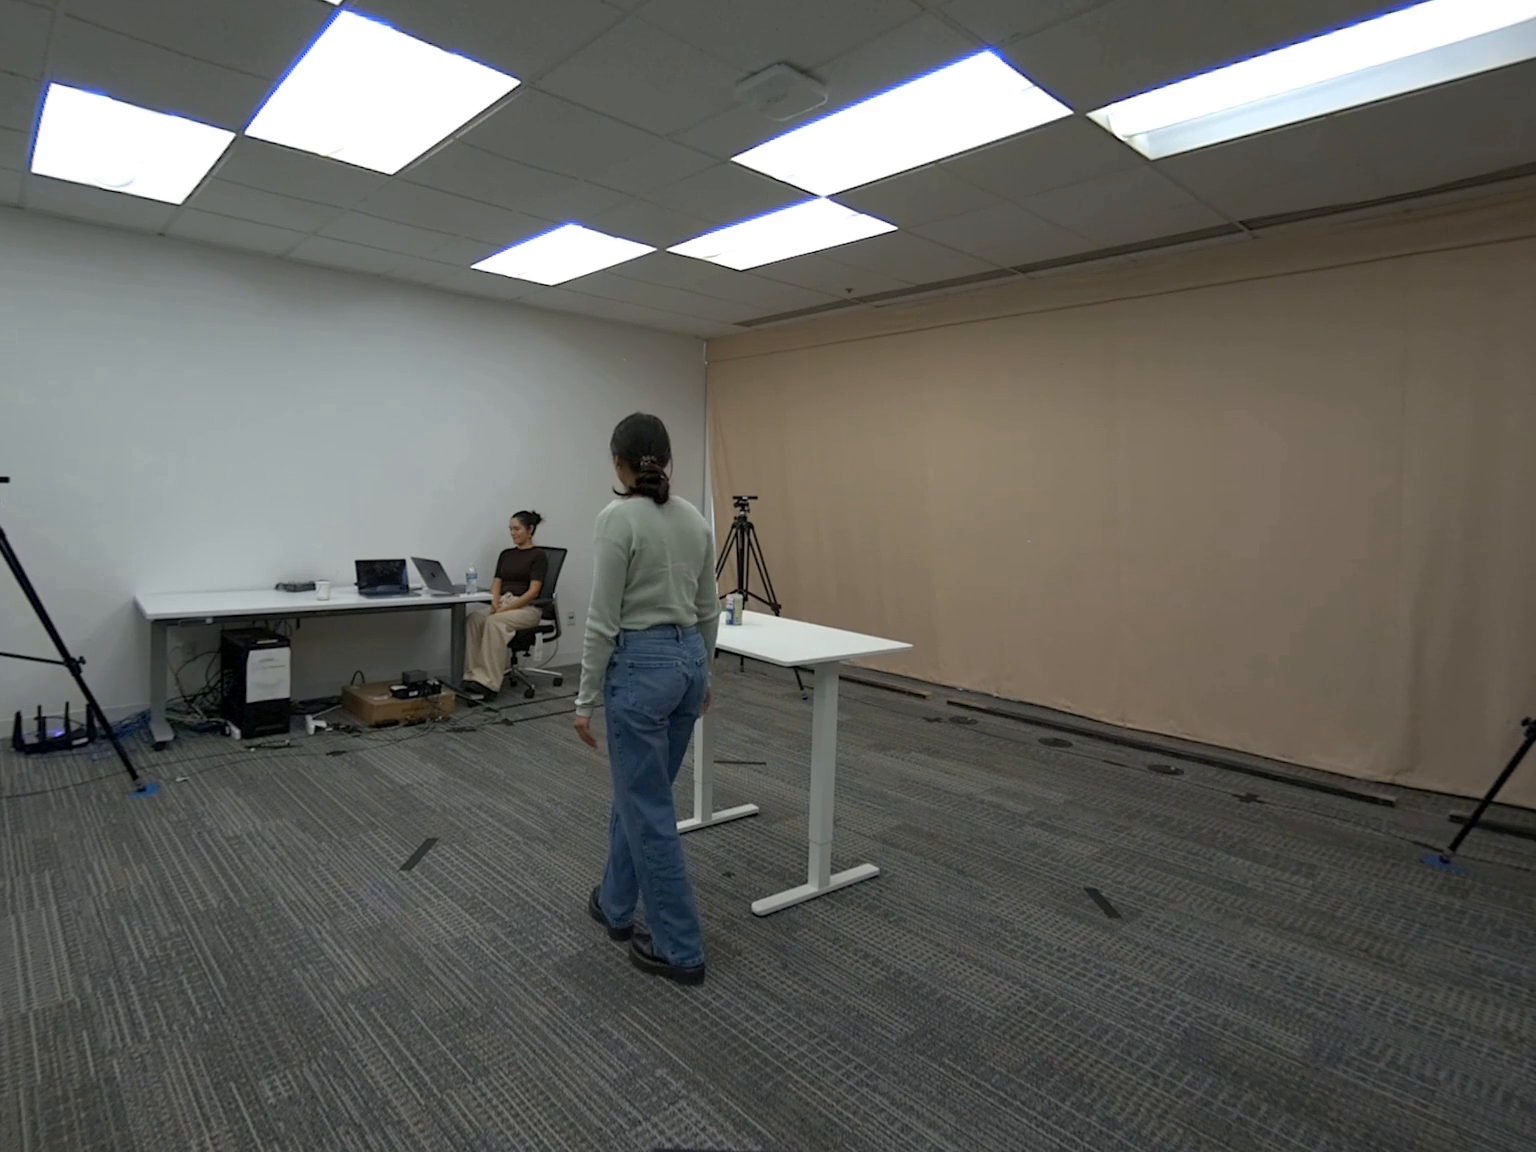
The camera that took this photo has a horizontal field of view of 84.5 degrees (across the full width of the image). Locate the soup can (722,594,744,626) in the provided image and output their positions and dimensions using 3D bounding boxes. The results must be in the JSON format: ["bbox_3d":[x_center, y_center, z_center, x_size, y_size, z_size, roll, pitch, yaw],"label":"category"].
[{"bbox_3d":[-0.147,0.137,3.374,0.067,0.121,0.067,0,3,-1],"label":"soup can"}]
